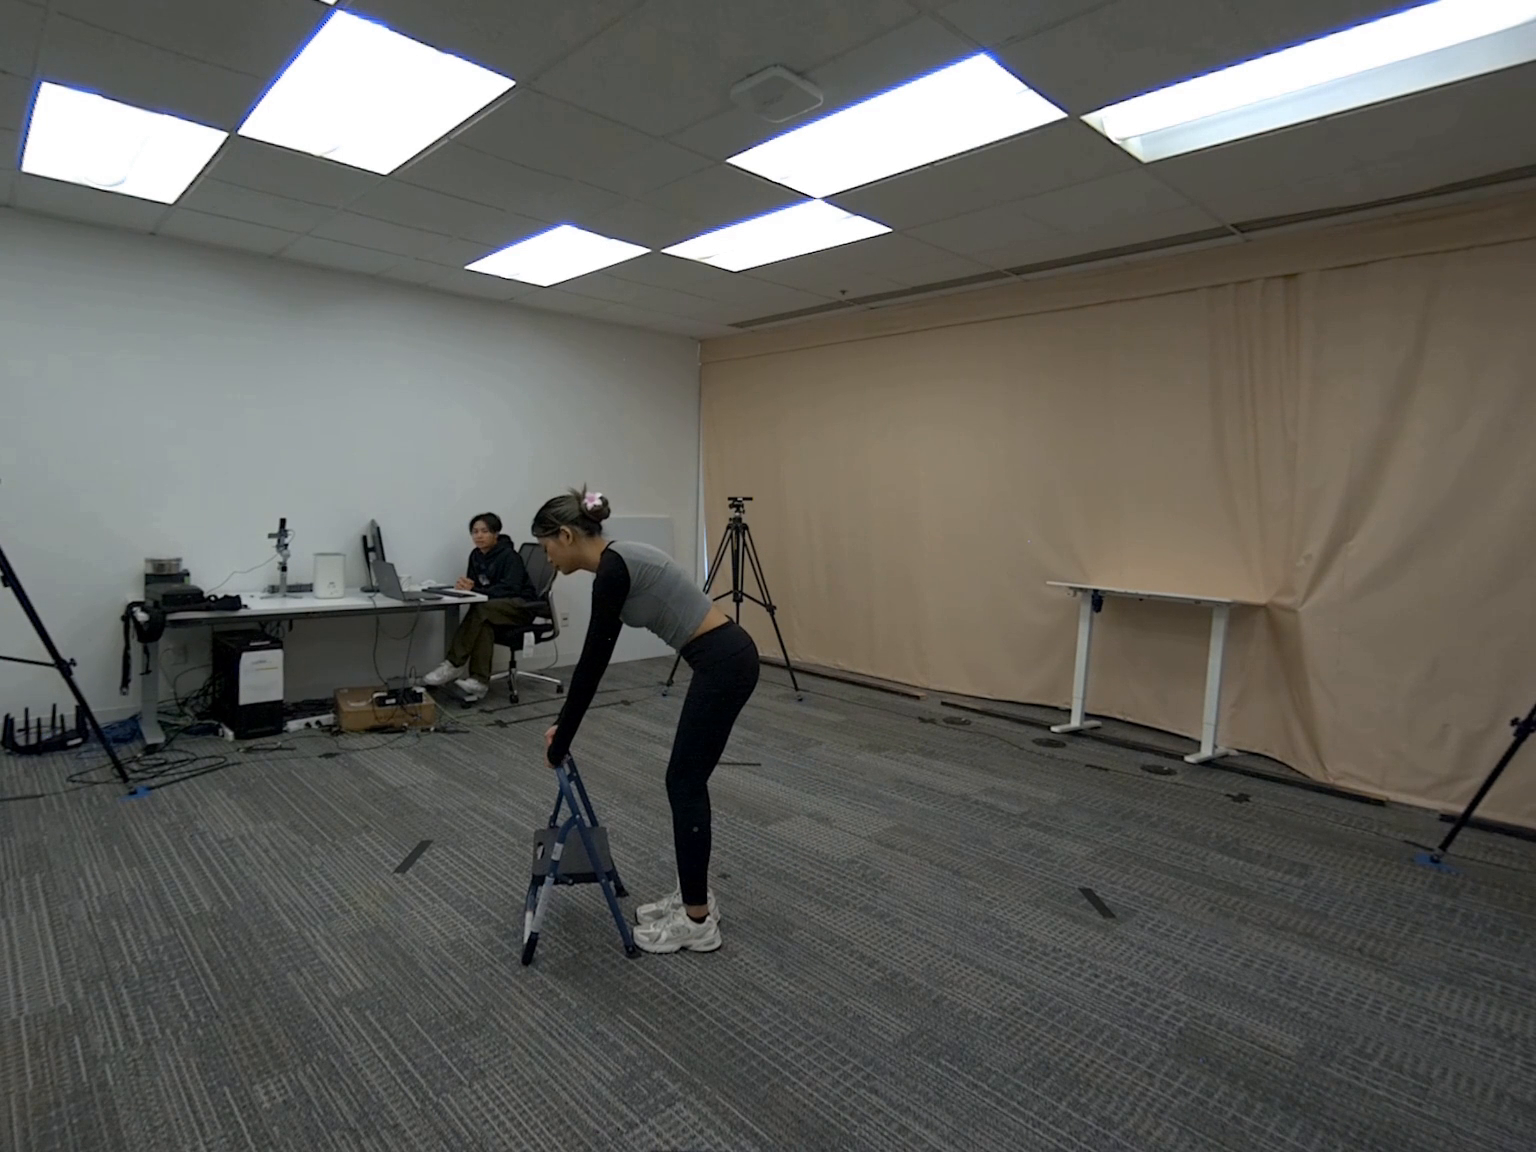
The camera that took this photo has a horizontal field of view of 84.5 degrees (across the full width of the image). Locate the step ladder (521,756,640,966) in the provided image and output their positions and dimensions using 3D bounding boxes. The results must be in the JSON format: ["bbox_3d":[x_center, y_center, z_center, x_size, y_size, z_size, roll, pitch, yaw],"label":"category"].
[{"bbox_3d":[-0.609,0.830,2.696,0.345,0.604,0.436,0,4,-14],"label":"step ladder"}]
